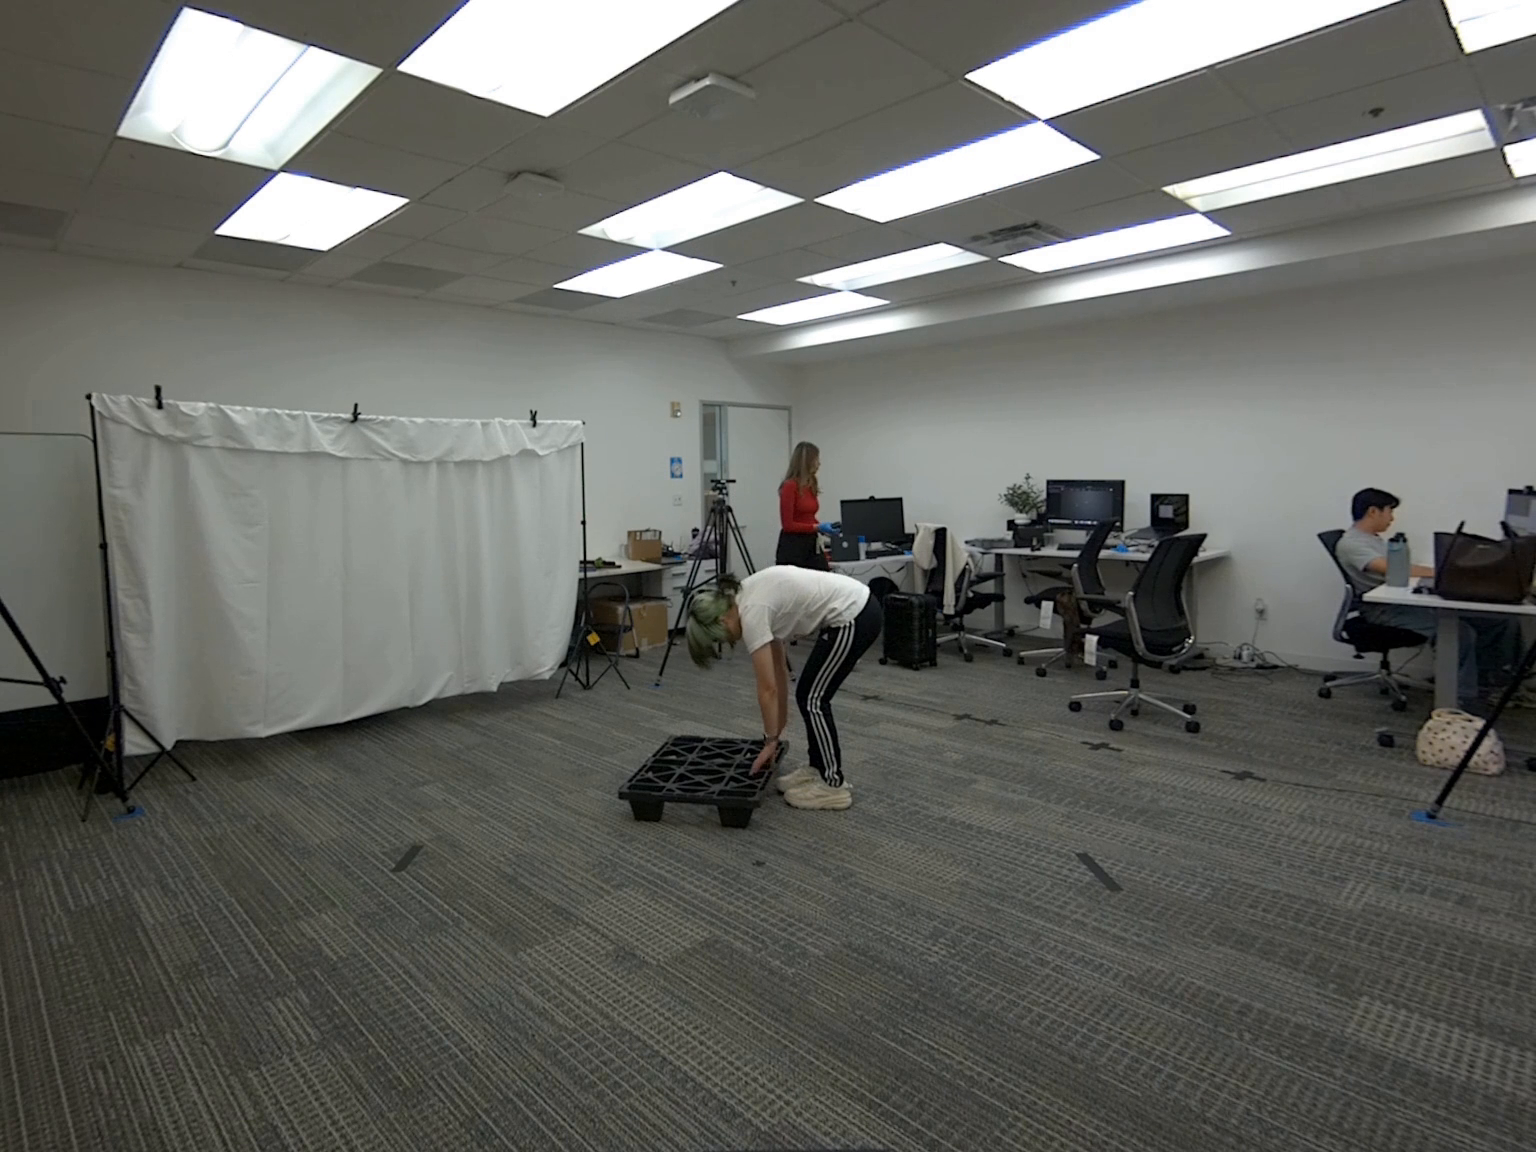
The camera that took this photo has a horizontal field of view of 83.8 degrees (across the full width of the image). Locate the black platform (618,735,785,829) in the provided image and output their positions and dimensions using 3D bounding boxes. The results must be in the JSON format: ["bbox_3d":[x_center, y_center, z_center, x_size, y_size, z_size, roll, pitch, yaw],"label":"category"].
[{"bbox_3d":[-0.258,0.902,3.822,0.612,0.143,0.799,-1,6,11],"label":"black platform"}]
